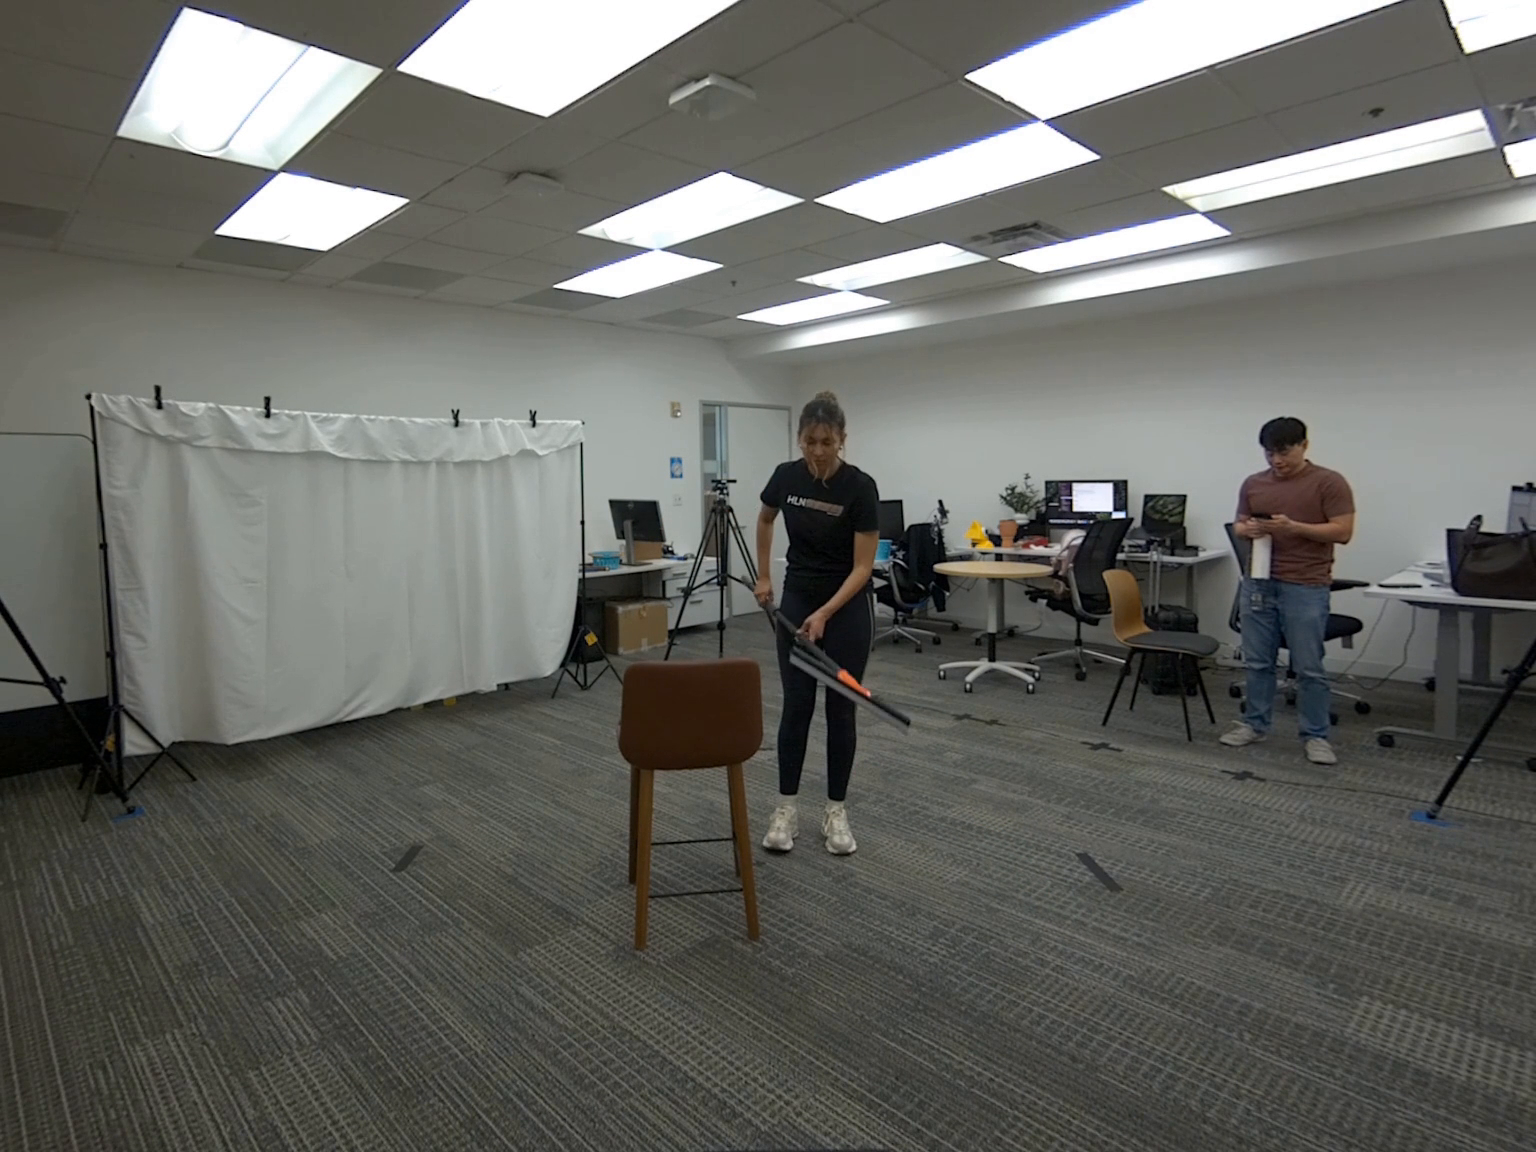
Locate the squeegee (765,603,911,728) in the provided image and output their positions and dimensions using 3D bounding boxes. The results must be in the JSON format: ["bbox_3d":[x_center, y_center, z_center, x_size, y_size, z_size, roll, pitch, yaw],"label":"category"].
[{"bbox_3d":[0.043,0.188,3.194,0.428,0.053,1.571,33,2,-18],"label":"squeegee"}]
